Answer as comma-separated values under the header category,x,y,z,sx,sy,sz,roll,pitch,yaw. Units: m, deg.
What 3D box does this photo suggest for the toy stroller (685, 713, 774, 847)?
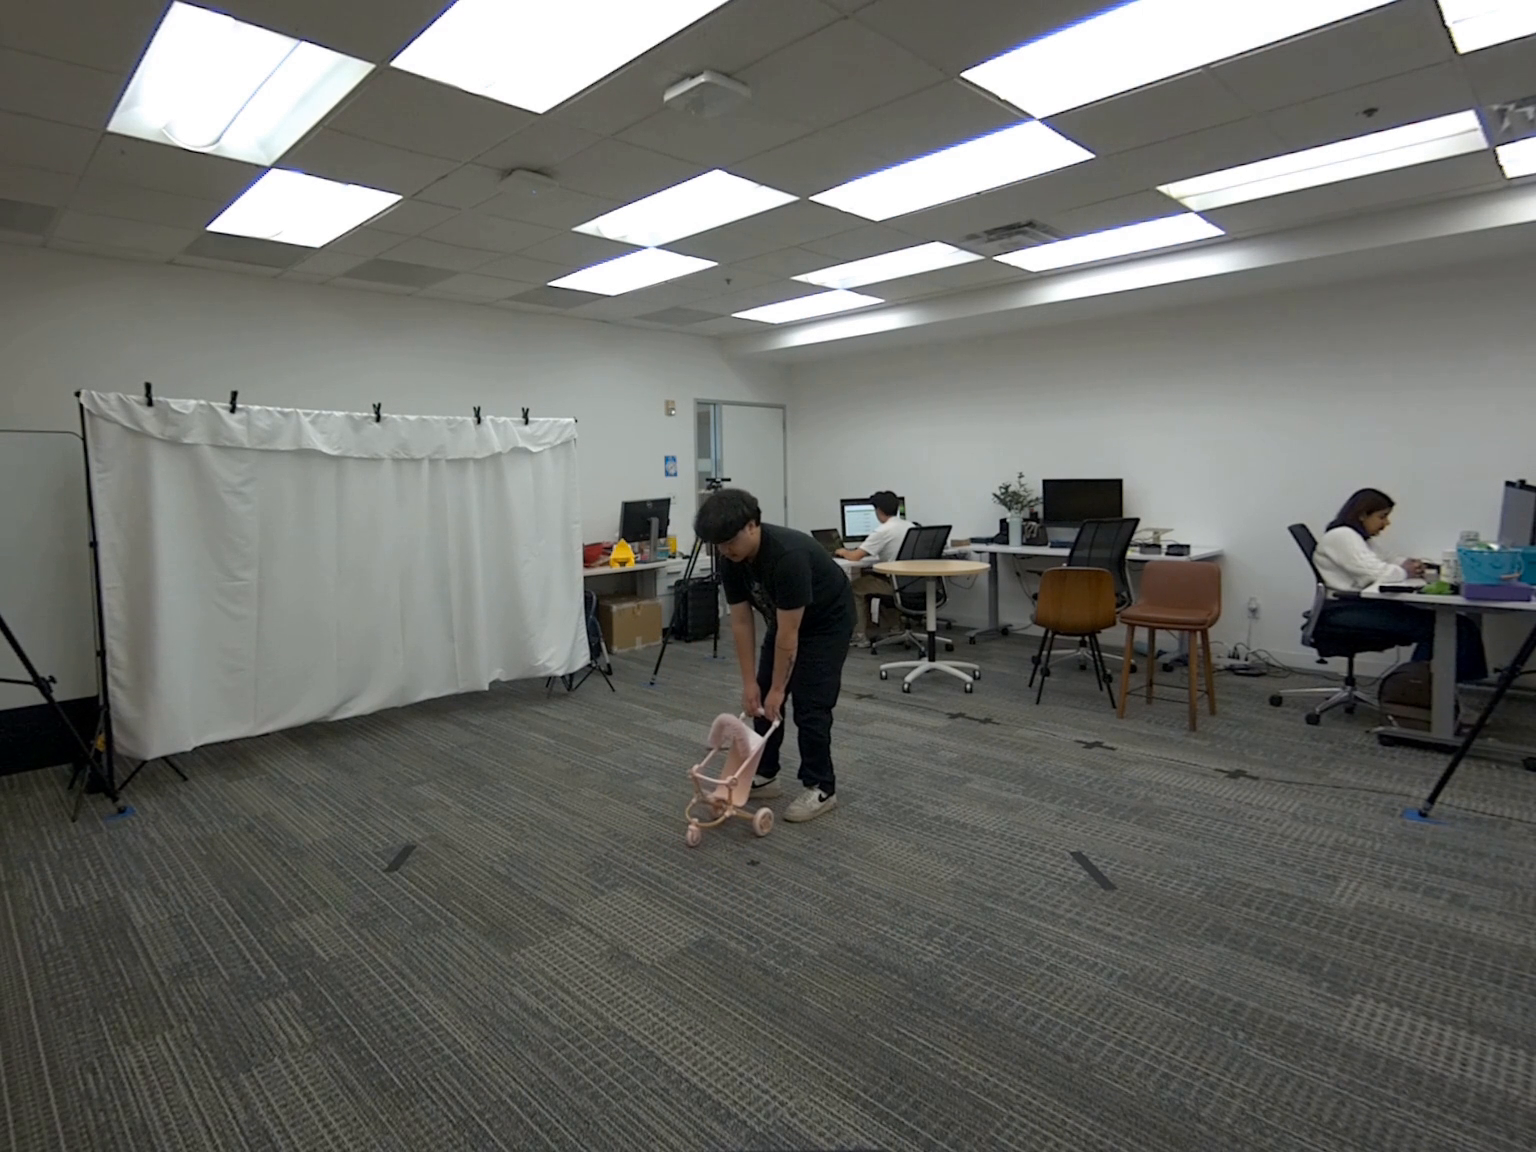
category,x,y,z,sx,sy,sz,roll,pitch,yaw
toy stroller,-0.160,0.785,3.371,0.330,0.537,0.290,15,-7,-41
